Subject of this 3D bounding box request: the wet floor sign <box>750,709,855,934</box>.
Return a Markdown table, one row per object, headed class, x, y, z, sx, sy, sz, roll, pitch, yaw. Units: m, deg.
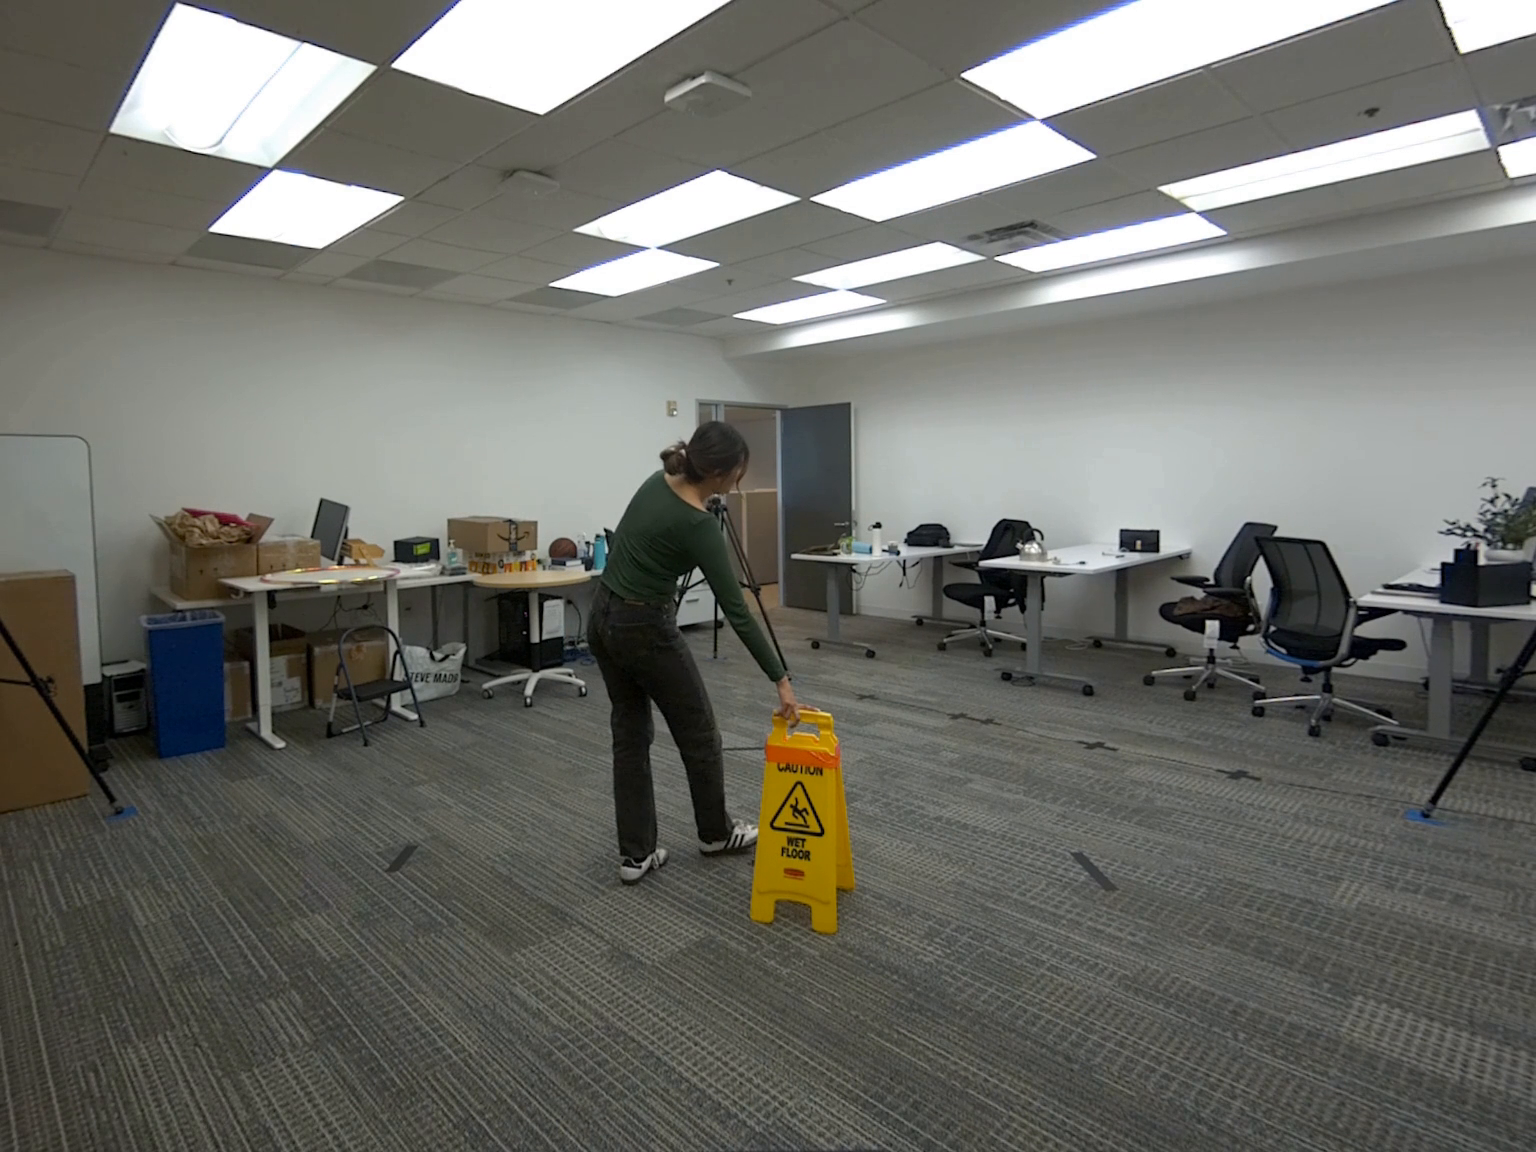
| class | x | y | z | sx | sy | sz | roll | pitch | yaw |
| --- | --- | --- | --- | --- | --- | --- | --- | --- | --- |
| wet floor sign | 0.120 | 0.755 | 2.782 | 0.288 | 0.644 | 0.285 | 1 | 4 | 19 |
